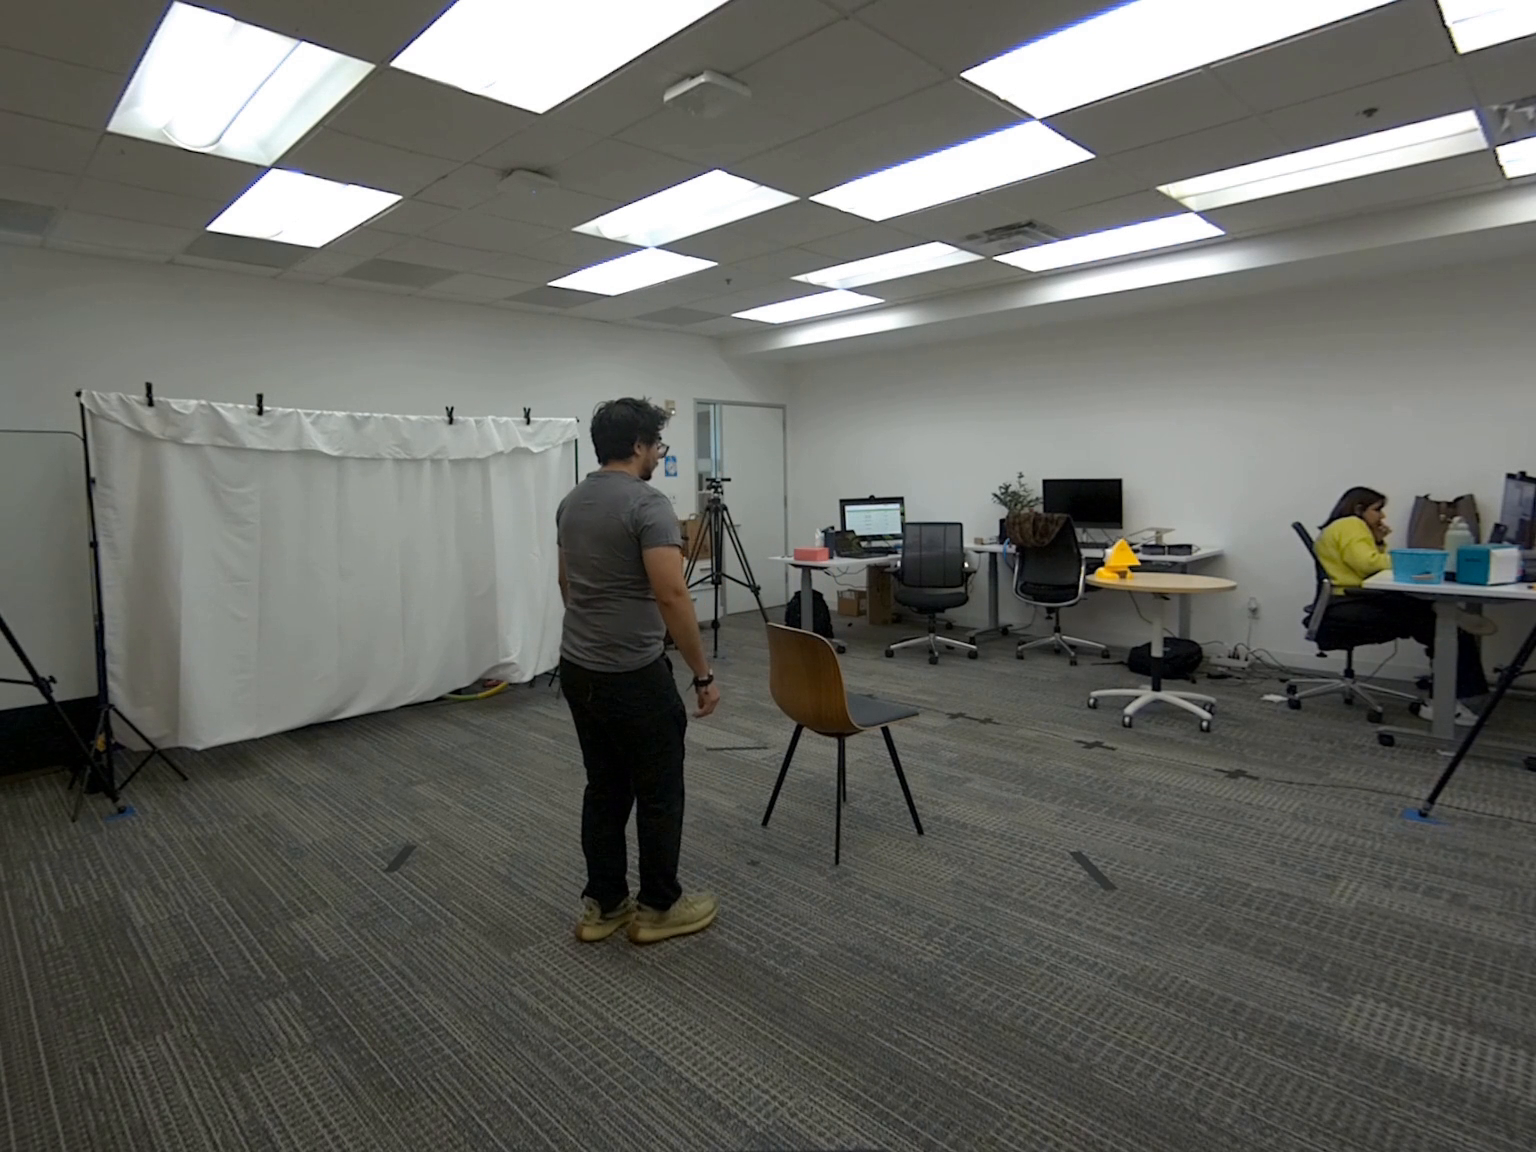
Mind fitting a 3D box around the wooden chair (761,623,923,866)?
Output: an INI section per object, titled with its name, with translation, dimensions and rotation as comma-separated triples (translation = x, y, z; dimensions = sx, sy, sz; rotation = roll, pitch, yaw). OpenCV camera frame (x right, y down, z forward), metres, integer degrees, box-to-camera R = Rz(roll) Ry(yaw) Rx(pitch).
[wooden chair]
translation = 0.291, 0.582, 3.351
dimensions = 0.511, 0.872, 0.492
rotation = -9, 8, -36
